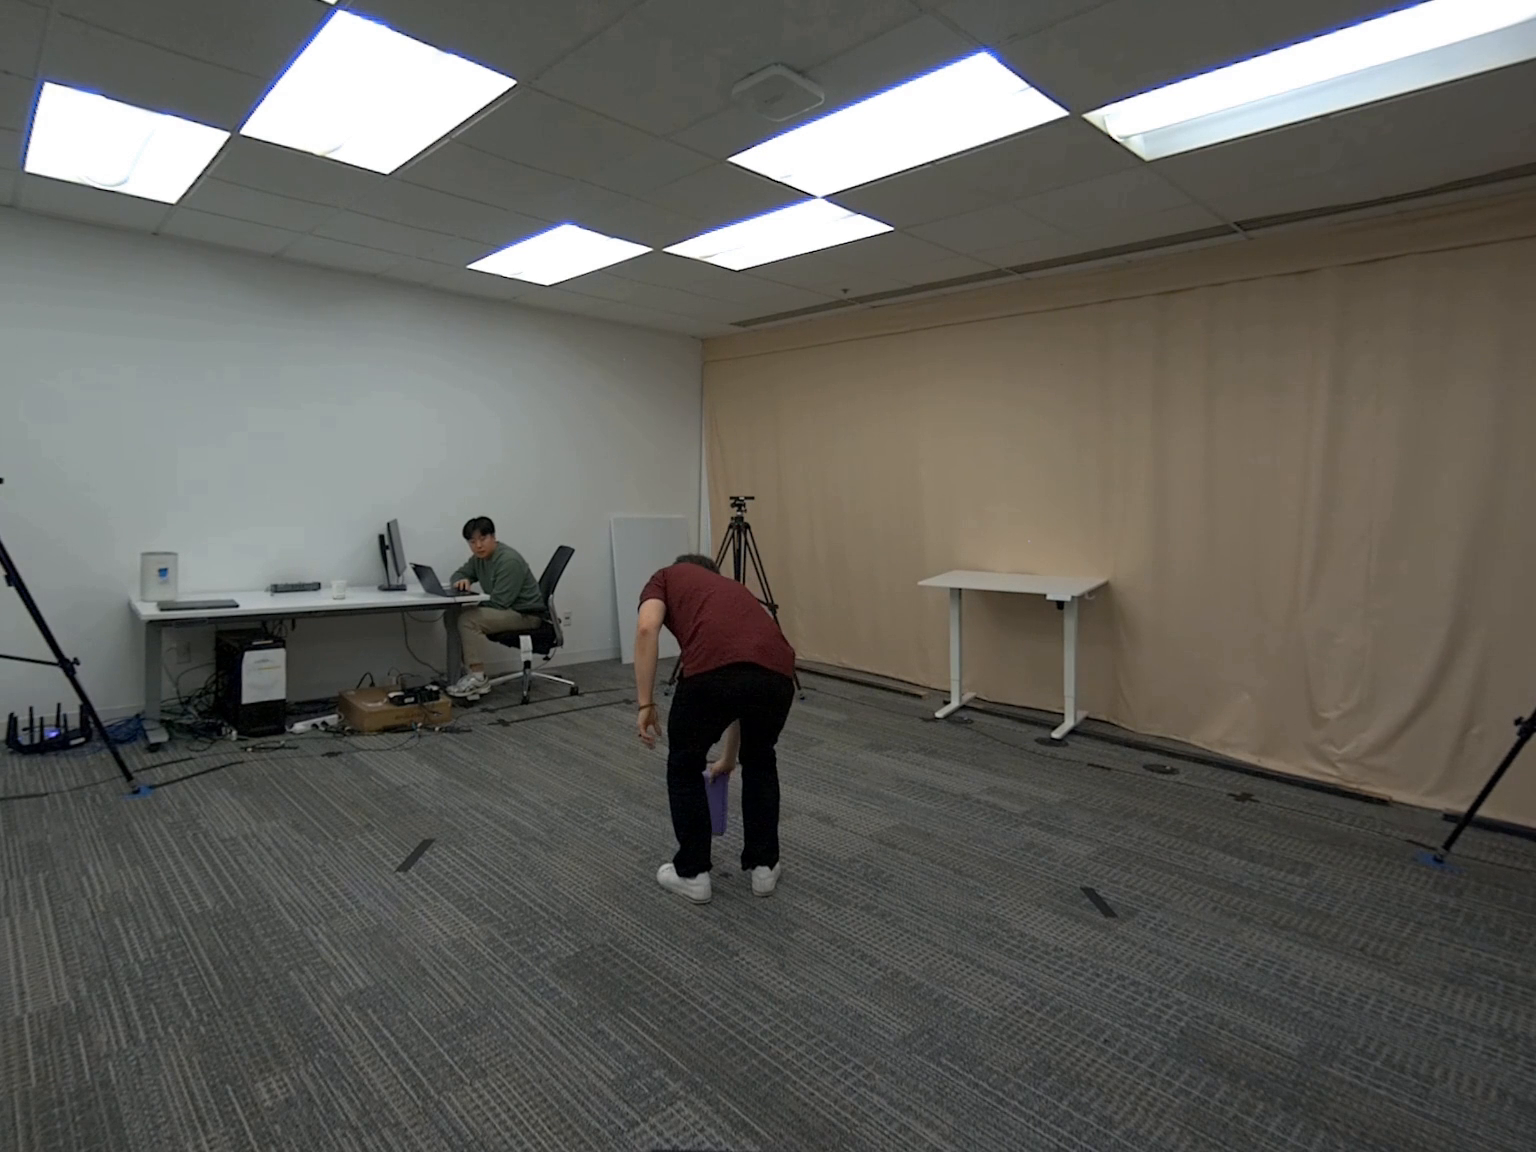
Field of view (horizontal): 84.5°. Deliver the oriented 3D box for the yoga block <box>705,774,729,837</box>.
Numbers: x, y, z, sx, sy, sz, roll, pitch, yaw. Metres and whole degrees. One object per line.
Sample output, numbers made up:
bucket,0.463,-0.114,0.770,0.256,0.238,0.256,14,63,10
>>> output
yoga block,-0.242,0.883,3.277,0.150,0.229,0.076,3,-1,9
